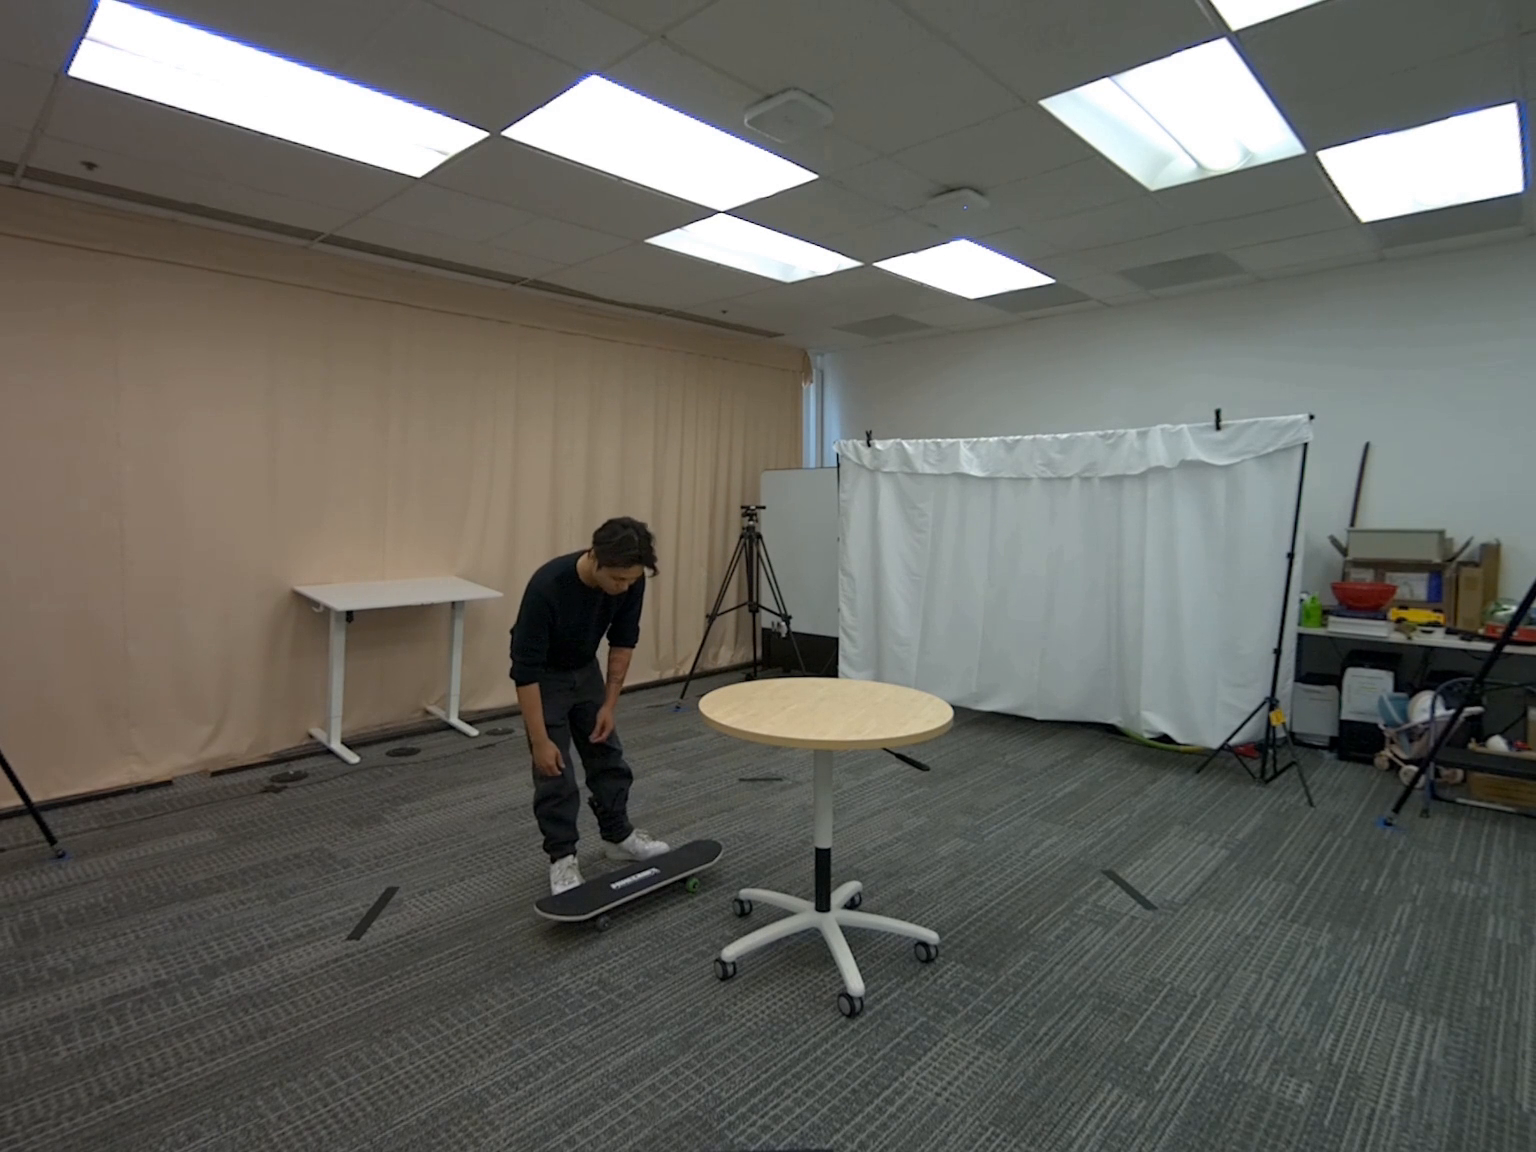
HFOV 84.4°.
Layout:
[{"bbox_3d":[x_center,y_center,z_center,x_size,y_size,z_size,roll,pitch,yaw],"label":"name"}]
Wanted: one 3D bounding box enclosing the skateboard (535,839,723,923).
[{"bbox_3d":[-0.470,1.099,2.954,0.200,0.110,0.761,3,6,44],"label":"skateboard"}]
